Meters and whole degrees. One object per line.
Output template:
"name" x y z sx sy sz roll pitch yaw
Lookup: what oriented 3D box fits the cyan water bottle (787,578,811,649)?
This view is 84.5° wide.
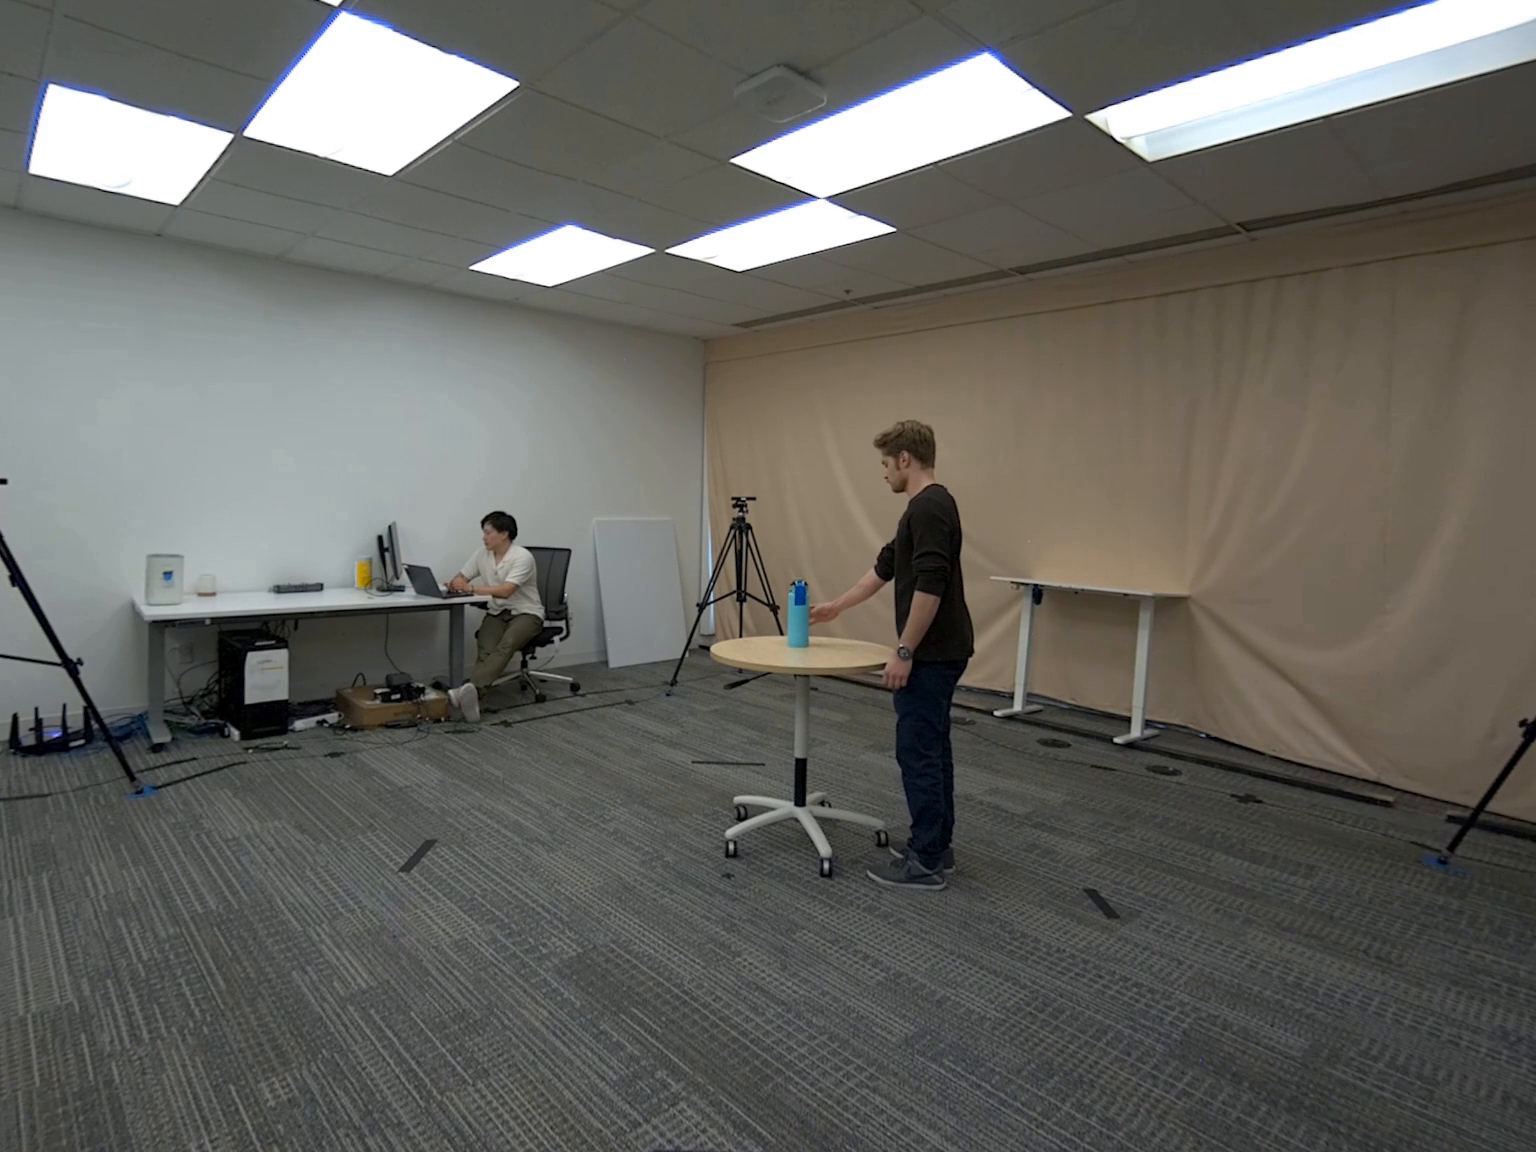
"cyan water bottle" 0.125 0.154 3.537 0.092 0.282 0.092 2 4 -2
